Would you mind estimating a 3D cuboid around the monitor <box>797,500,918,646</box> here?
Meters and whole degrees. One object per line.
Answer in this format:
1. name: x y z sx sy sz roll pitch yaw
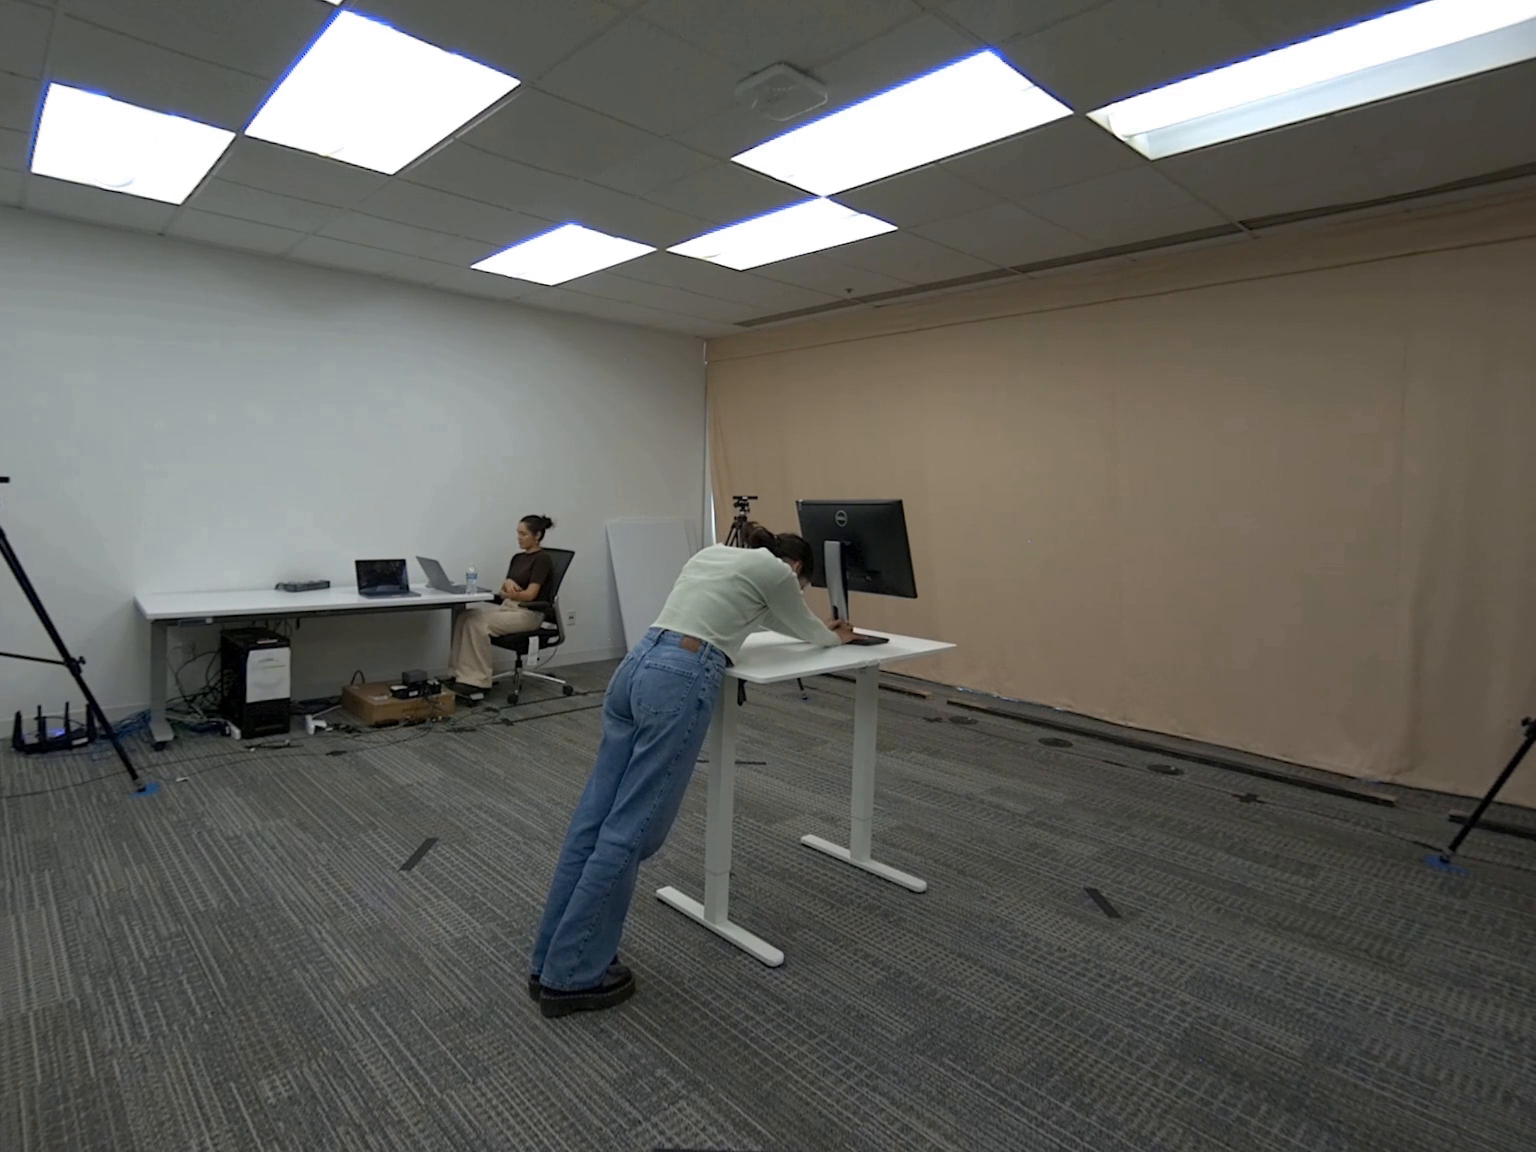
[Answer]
1. monitor: 0.285 -0.018 3.079 0.183 0.521 0.552 -4 5 -40
